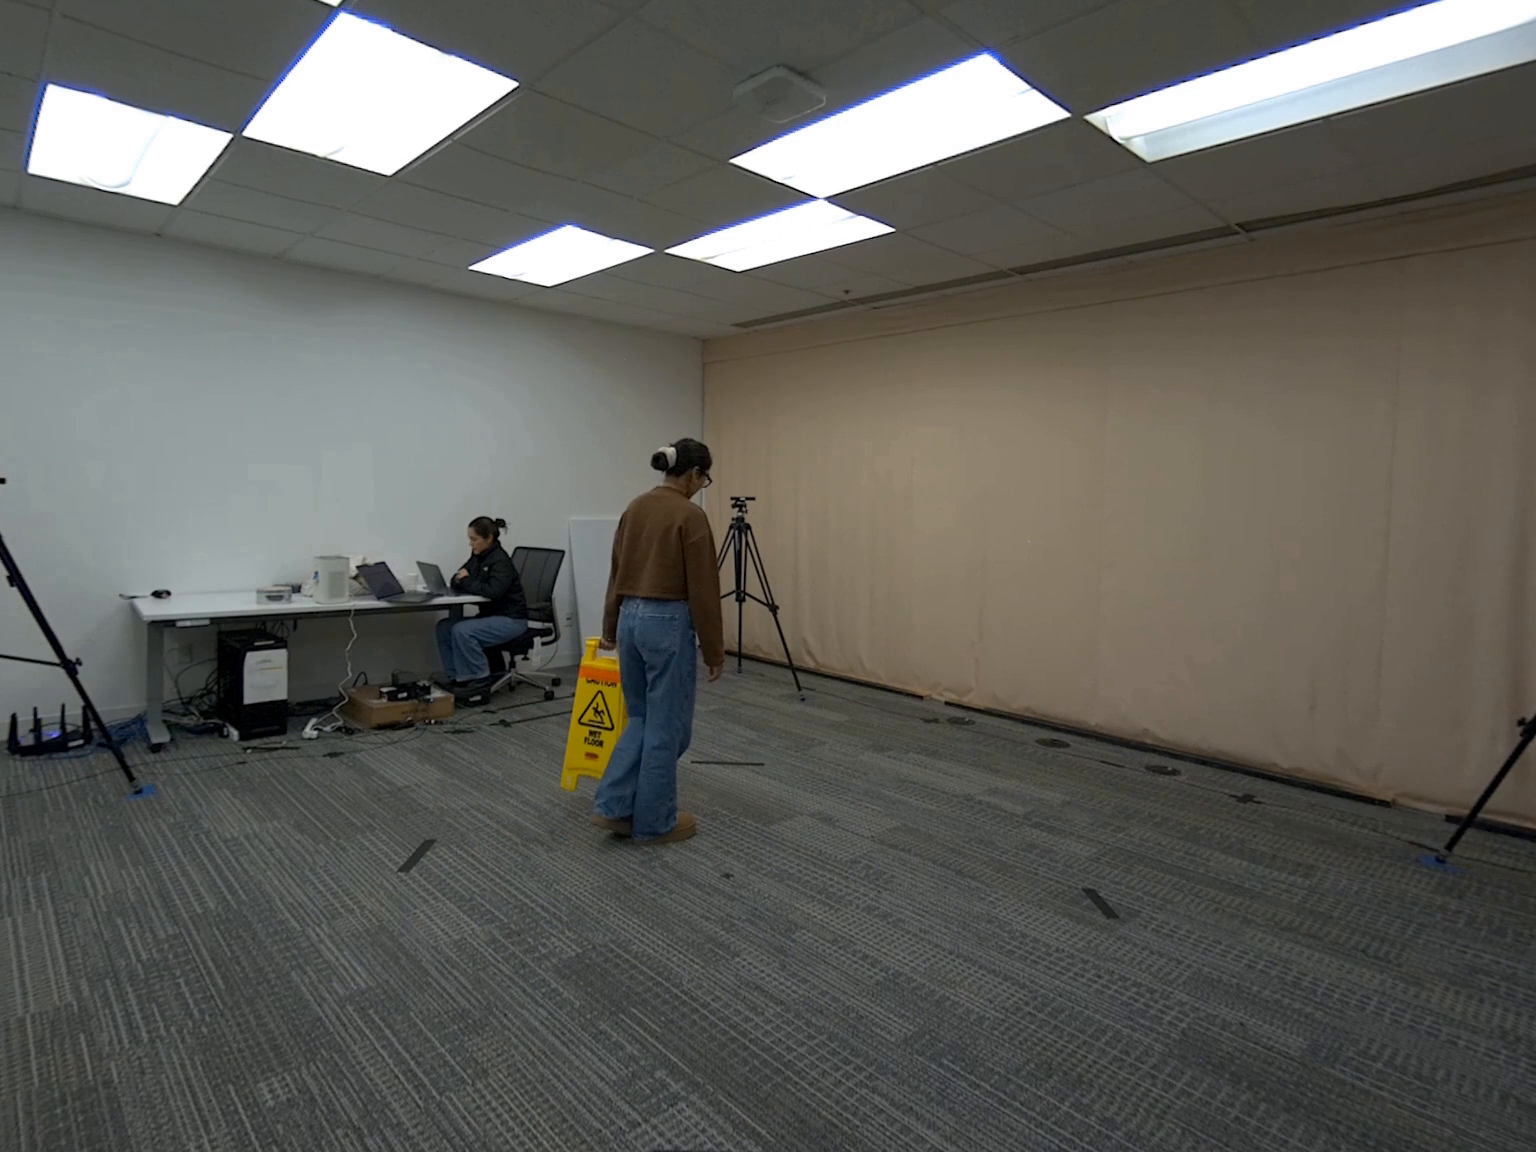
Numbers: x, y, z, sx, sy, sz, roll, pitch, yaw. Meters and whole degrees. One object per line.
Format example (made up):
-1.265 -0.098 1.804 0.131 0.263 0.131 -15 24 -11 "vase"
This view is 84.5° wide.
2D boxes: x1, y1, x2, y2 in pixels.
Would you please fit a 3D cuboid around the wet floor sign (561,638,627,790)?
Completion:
-0.730 0.600 3.682 0.287 0.642 0.287 4 8 18 "wet floor sign"
